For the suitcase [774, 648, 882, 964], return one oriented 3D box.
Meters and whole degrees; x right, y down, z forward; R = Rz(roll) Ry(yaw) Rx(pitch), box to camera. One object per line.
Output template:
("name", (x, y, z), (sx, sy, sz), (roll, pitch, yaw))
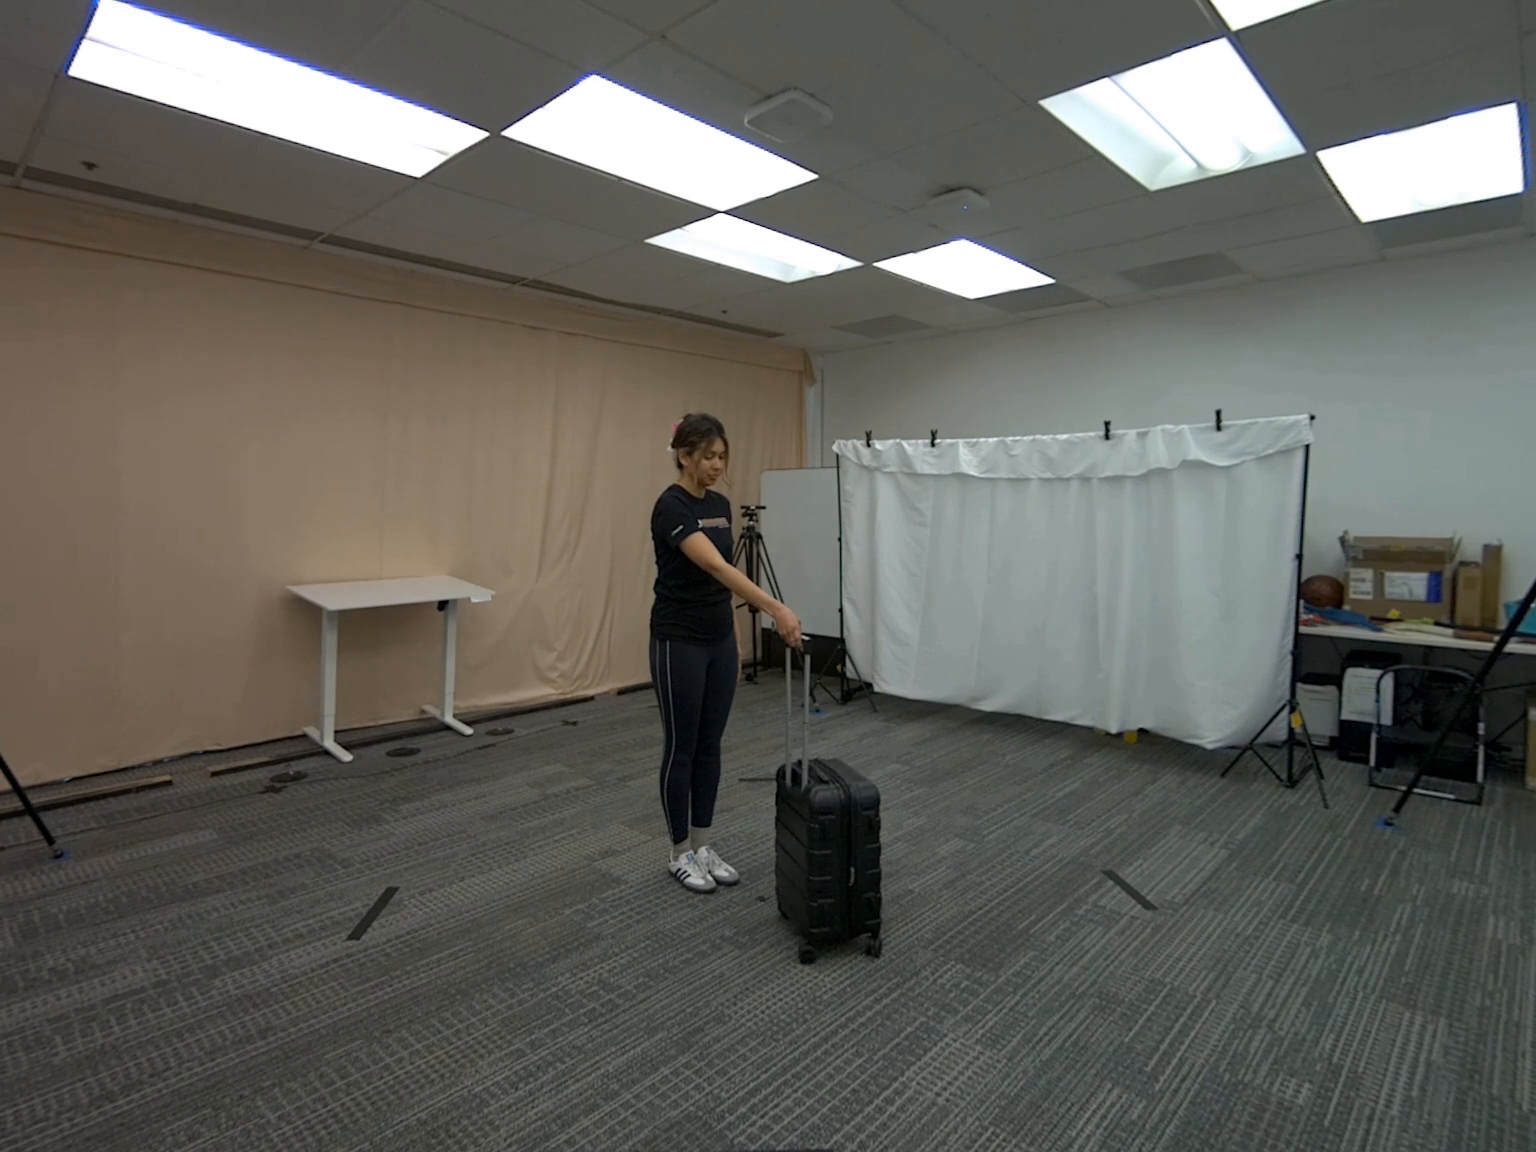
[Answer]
("suitcase", (0.199, 0.690, 2.716), (0.253, 0.977, 0.391), (1, 3, -16))
